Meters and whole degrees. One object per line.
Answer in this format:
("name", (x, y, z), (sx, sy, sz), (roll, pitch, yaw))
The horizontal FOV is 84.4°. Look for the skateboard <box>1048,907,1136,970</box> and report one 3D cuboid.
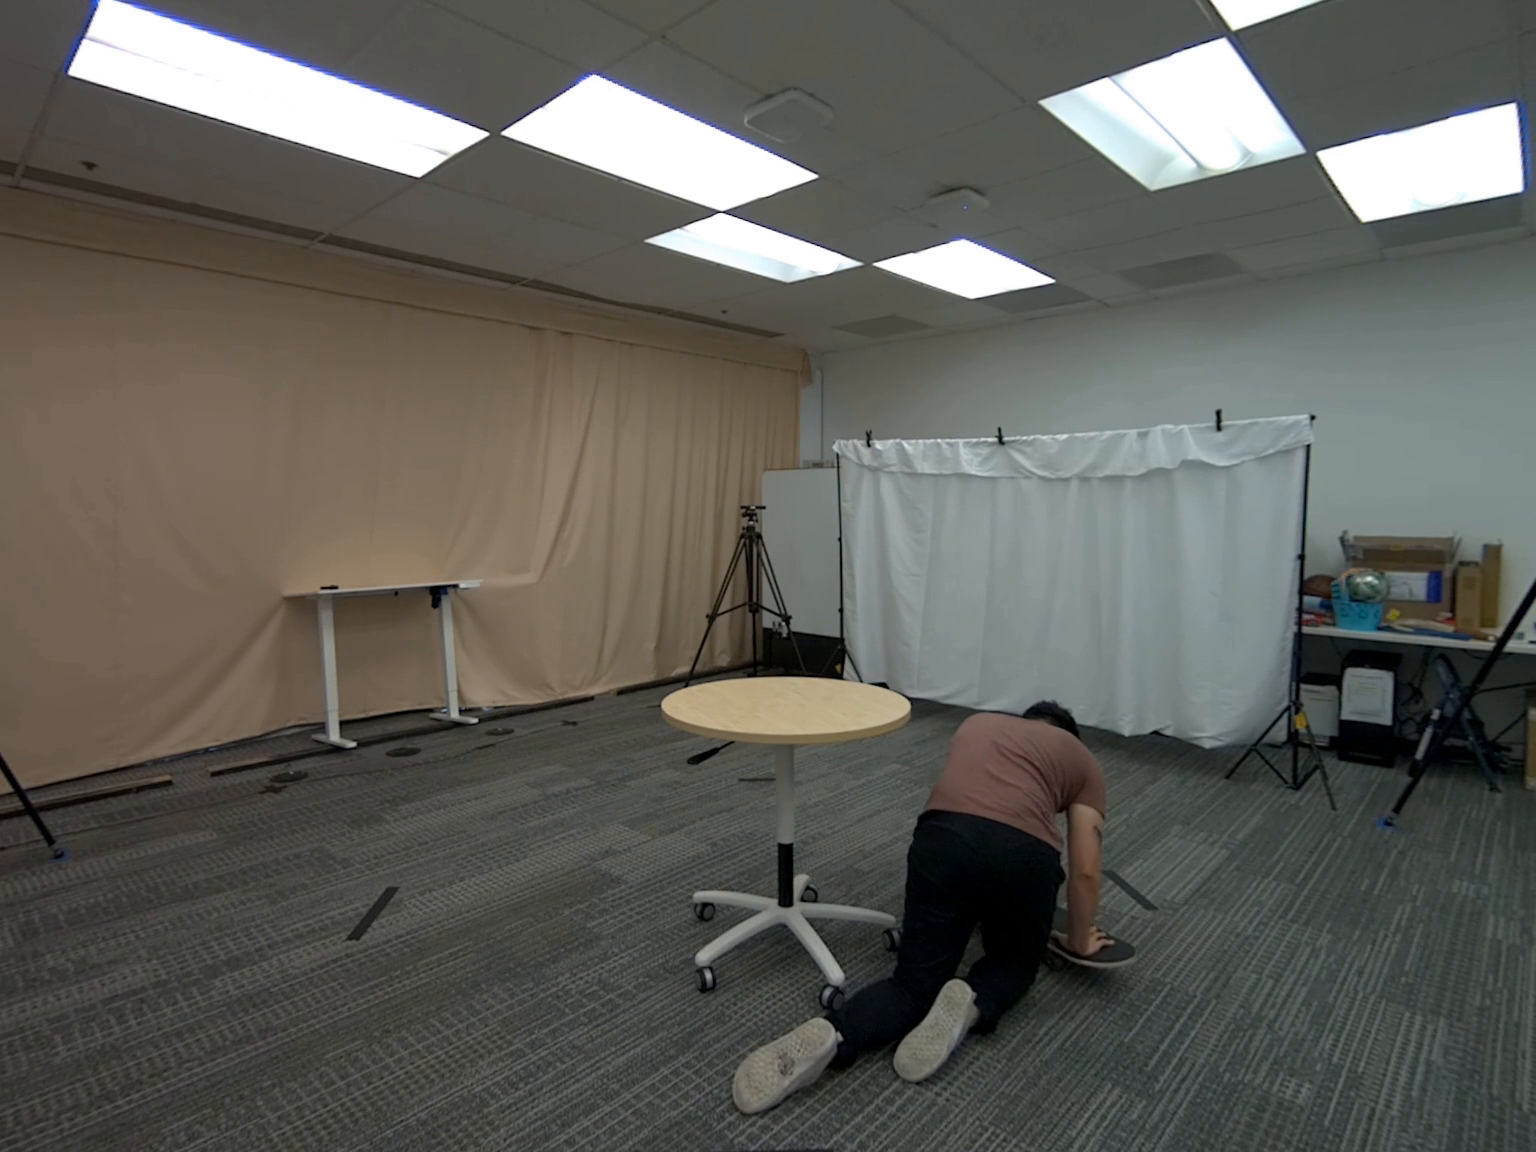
("skateboard", (0.830, 1.107, 2.746), (0.188, 0.110, 0.808), (-4, 7, -29))
